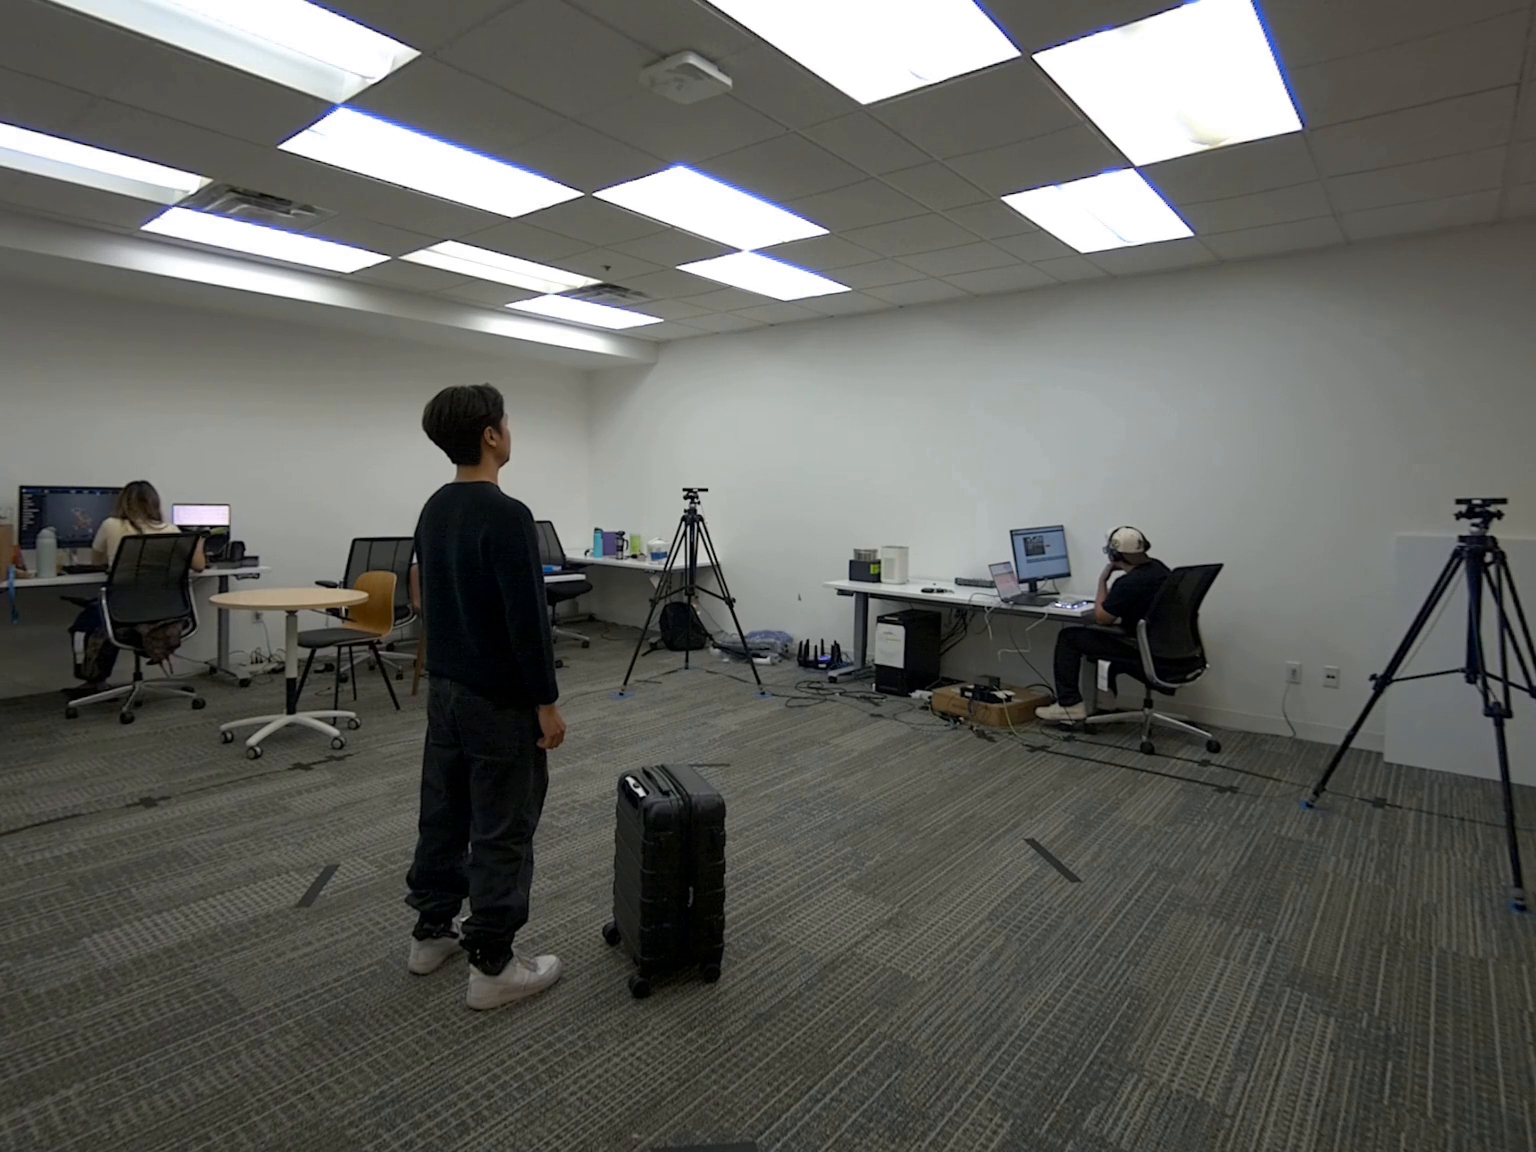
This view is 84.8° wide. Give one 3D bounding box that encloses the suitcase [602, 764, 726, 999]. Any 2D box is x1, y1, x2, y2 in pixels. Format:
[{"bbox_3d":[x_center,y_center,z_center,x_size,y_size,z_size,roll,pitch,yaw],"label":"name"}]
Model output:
[{"bbox_3d":[-0.306,0.852,2.499,0.242,0.548,0.385,2,3,-25],"label":"suitcase"}]
